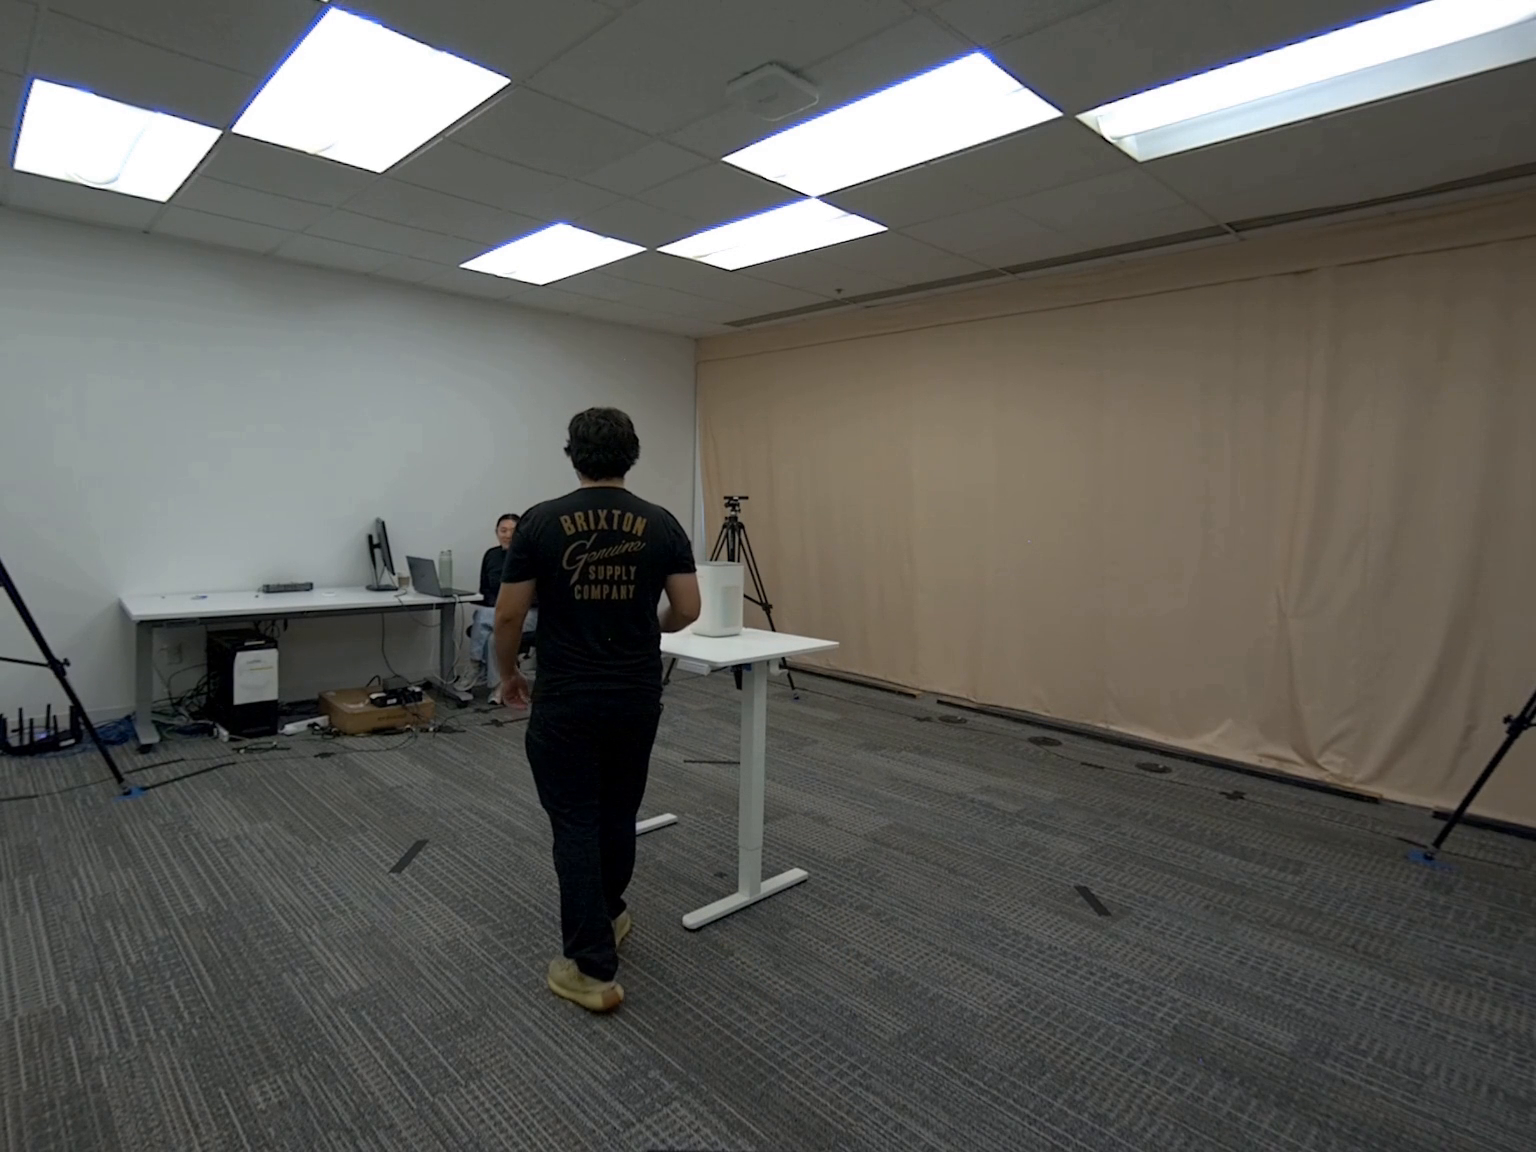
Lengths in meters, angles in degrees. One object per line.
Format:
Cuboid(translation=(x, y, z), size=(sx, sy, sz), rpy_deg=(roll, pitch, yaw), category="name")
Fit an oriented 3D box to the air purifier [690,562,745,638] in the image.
Cuboid(translation=(-0.198, 0.084, 3.123), size=(0.168, 0.265, 0.175), rpy_deg=(-2, 4, -44), category="air purifier")
